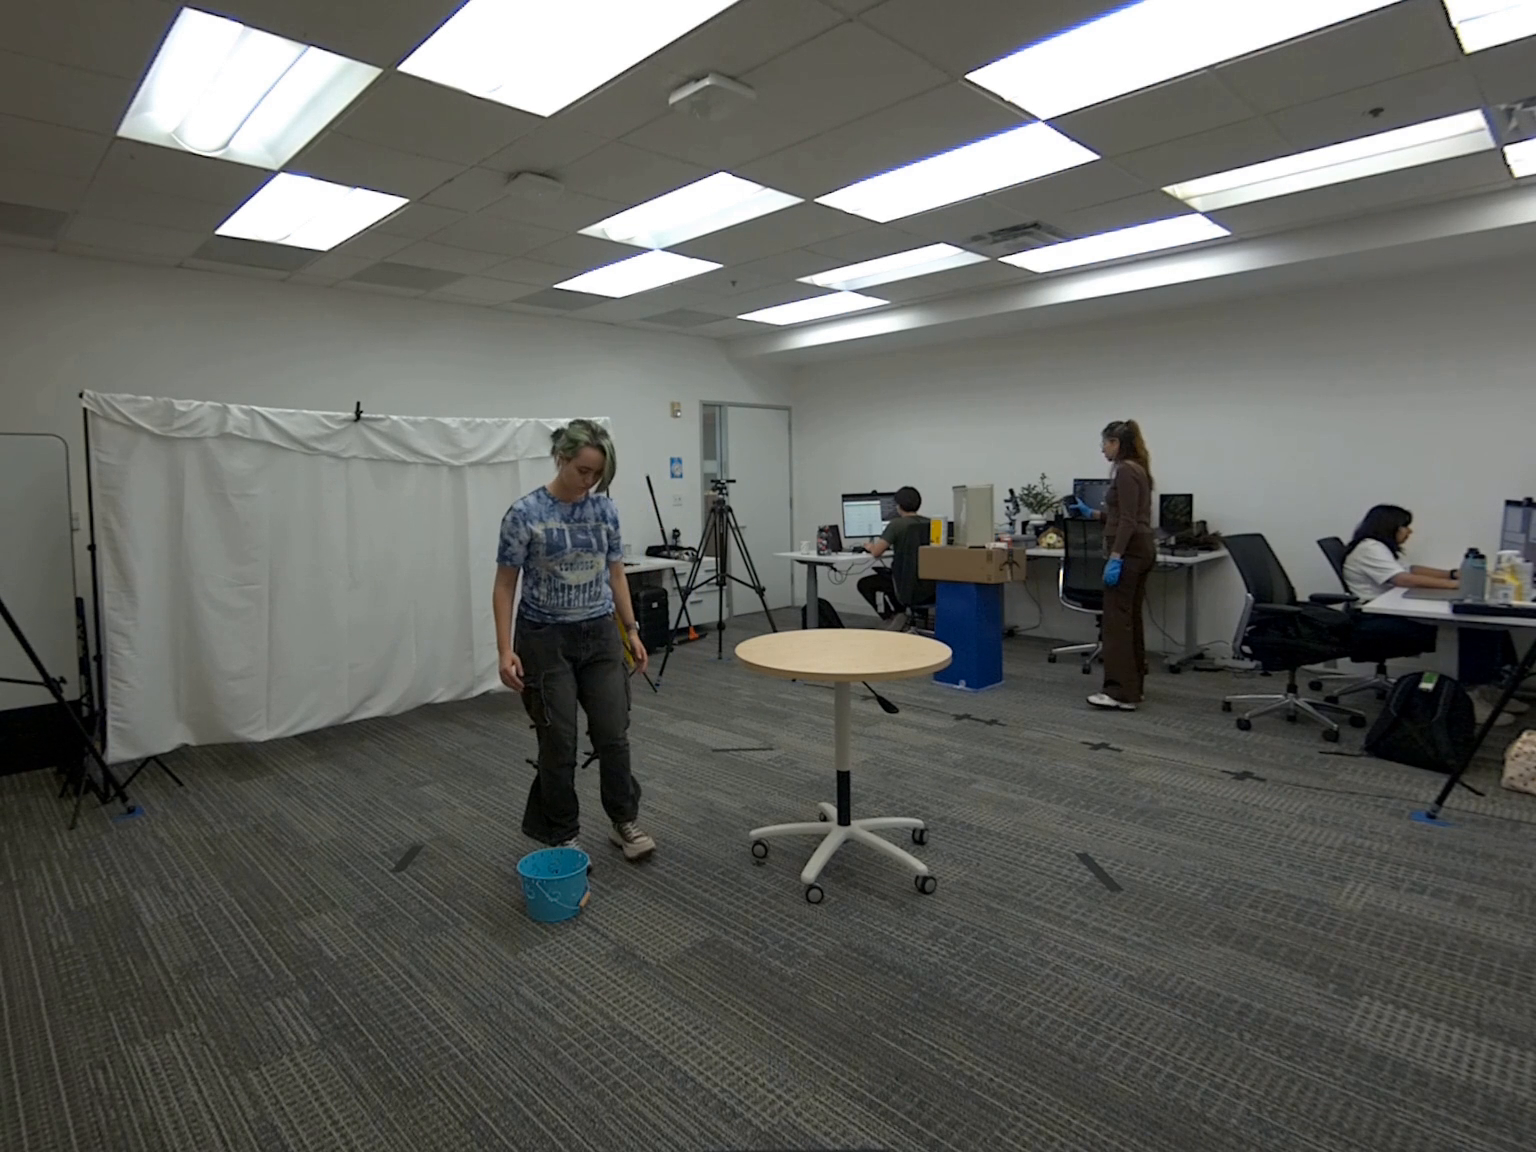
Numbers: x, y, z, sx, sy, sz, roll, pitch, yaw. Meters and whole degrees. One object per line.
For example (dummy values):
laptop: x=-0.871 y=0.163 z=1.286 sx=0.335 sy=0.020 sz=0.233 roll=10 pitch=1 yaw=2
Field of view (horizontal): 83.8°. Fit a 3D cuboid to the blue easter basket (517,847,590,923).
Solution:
blue easter basket: x=-0.701 y=1.021 z=2.807 sx=0.243 sy=0.155 sz=0.245 roll=-2 pitch=6 yaw=-2
